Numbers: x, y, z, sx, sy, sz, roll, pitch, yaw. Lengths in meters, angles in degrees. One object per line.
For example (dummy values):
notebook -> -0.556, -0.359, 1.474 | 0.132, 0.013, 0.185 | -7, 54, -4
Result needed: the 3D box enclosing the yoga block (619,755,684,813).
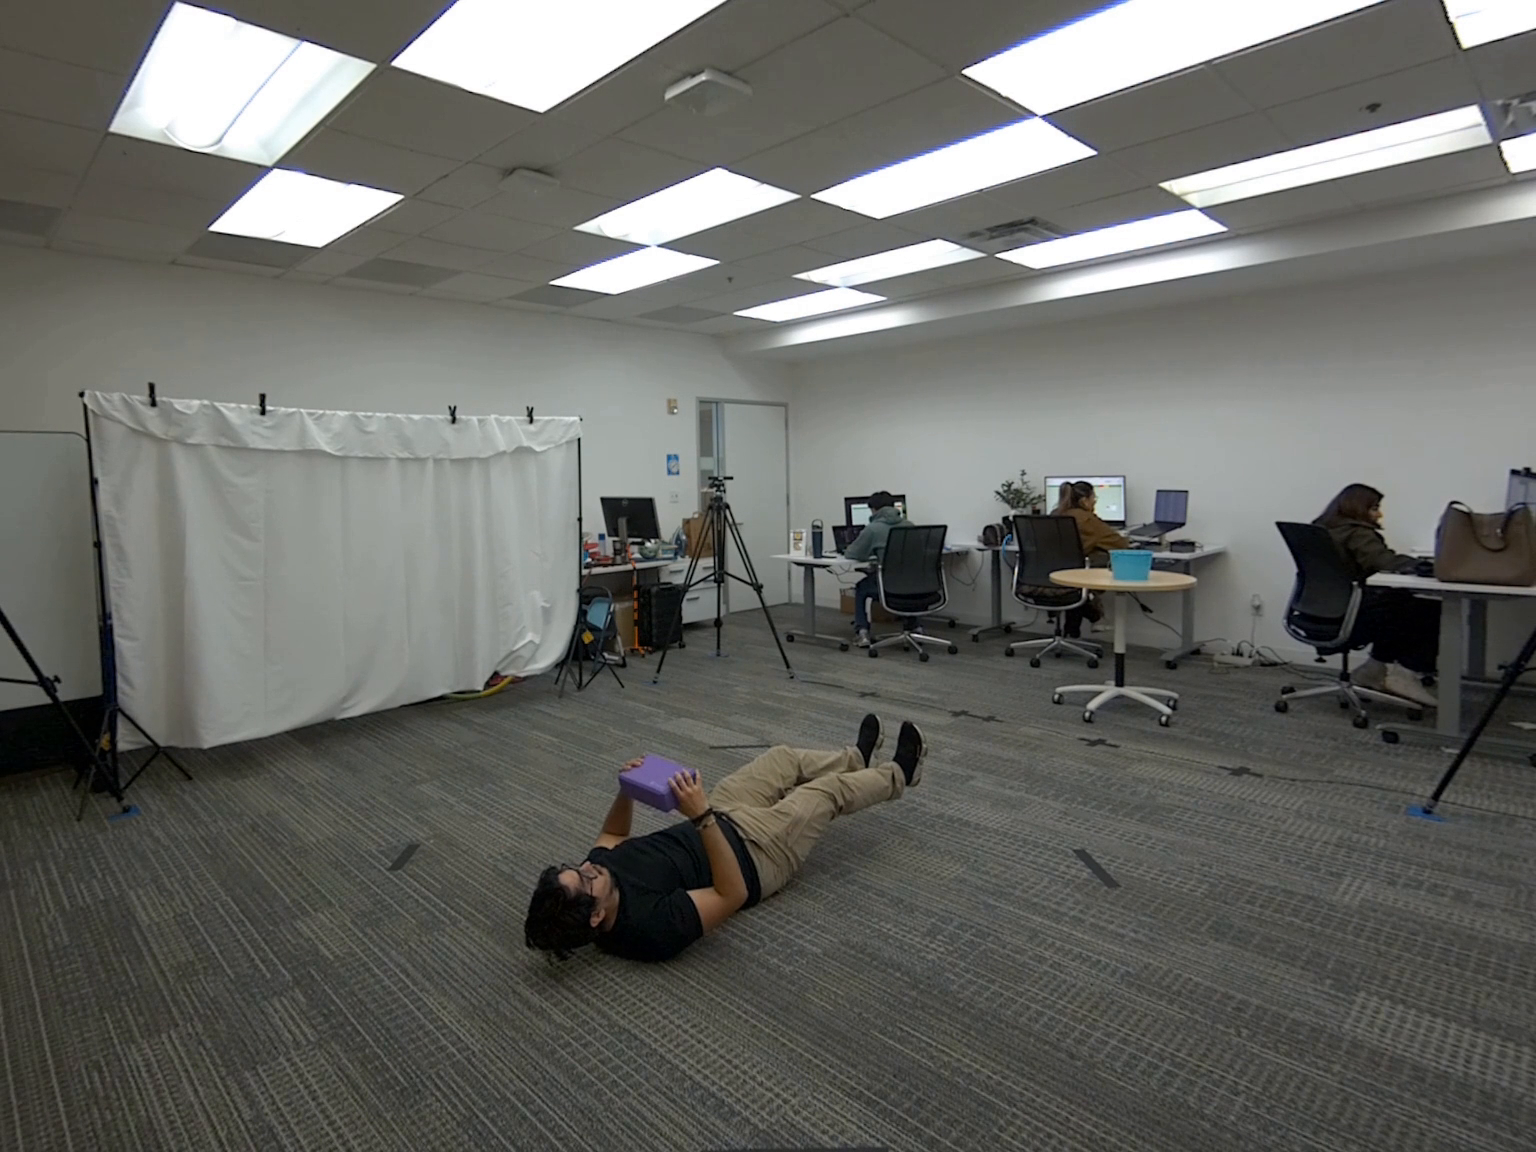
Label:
yoga block -> -0.334, 0.649, 2.664 | 0.236, 0.075, 0.146 | 5, 22, 45
